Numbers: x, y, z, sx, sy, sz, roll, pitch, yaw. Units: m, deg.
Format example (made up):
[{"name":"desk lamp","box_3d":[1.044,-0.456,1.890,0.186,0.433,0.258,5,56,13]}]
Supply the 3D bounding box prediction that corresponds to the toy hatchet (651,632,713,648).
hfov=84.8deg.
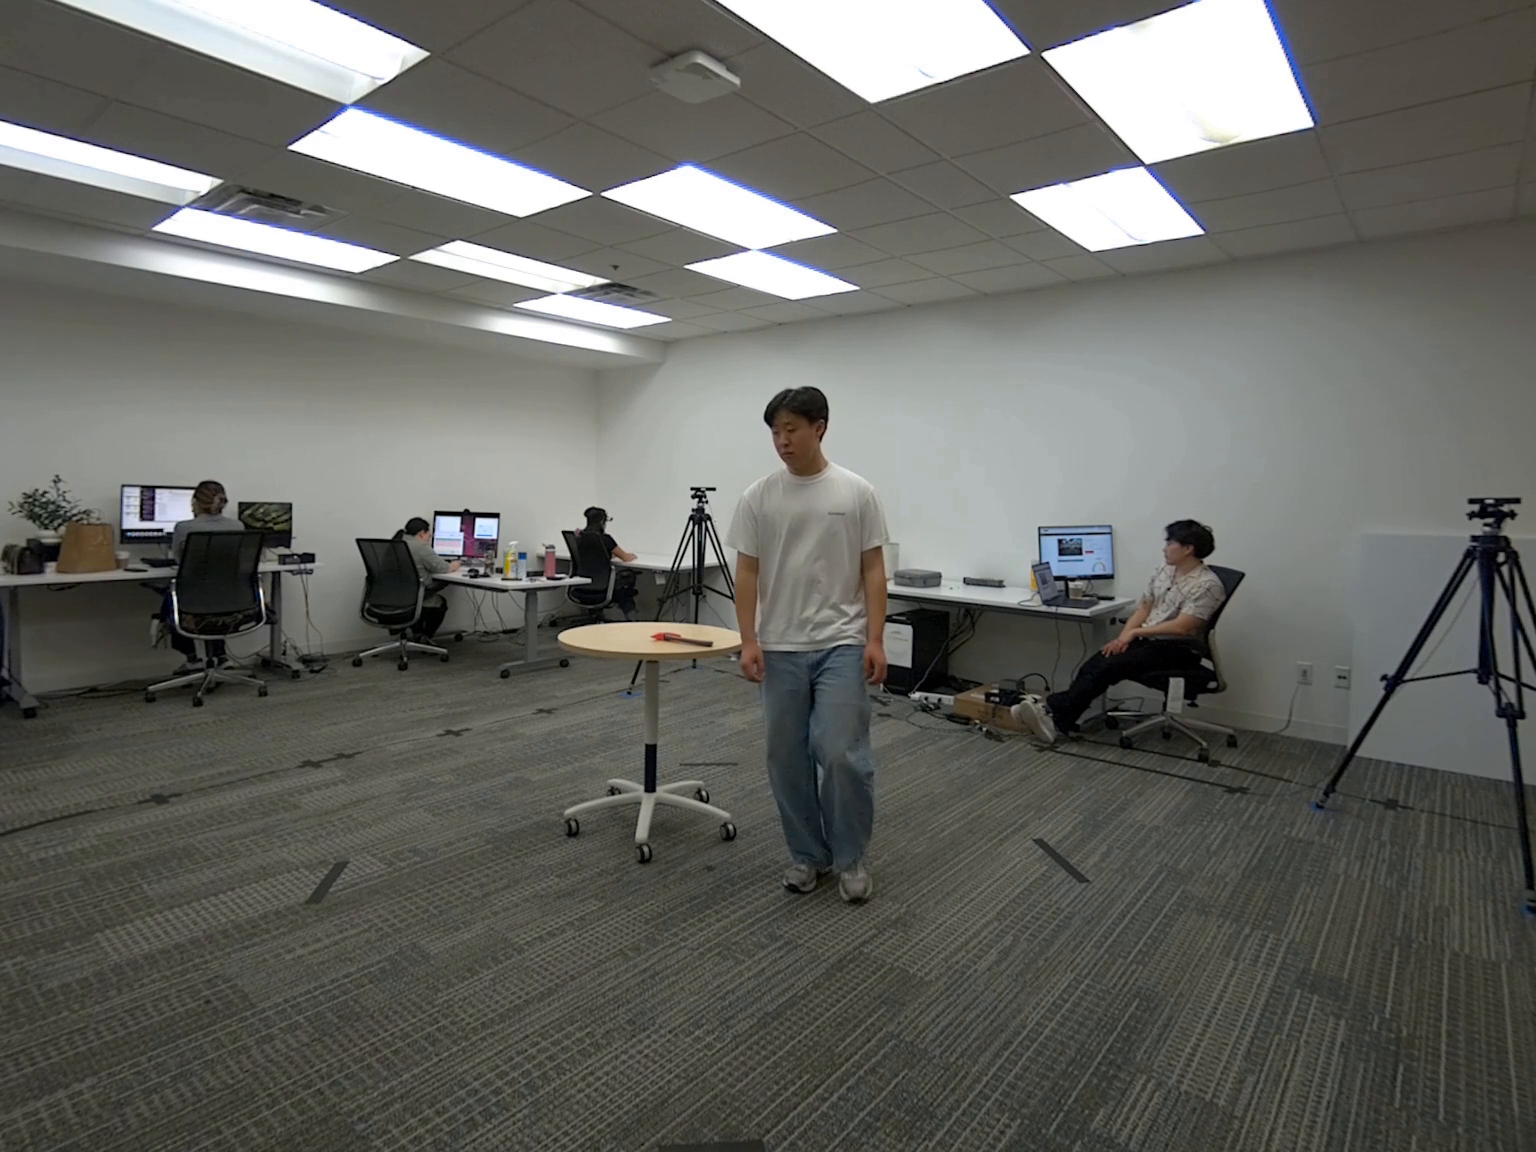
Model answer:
[{"name":"toy hatchet","box_3d":[-0.334,0.247,3.352,0.277,0.029,0.128,6,3,24]}]
